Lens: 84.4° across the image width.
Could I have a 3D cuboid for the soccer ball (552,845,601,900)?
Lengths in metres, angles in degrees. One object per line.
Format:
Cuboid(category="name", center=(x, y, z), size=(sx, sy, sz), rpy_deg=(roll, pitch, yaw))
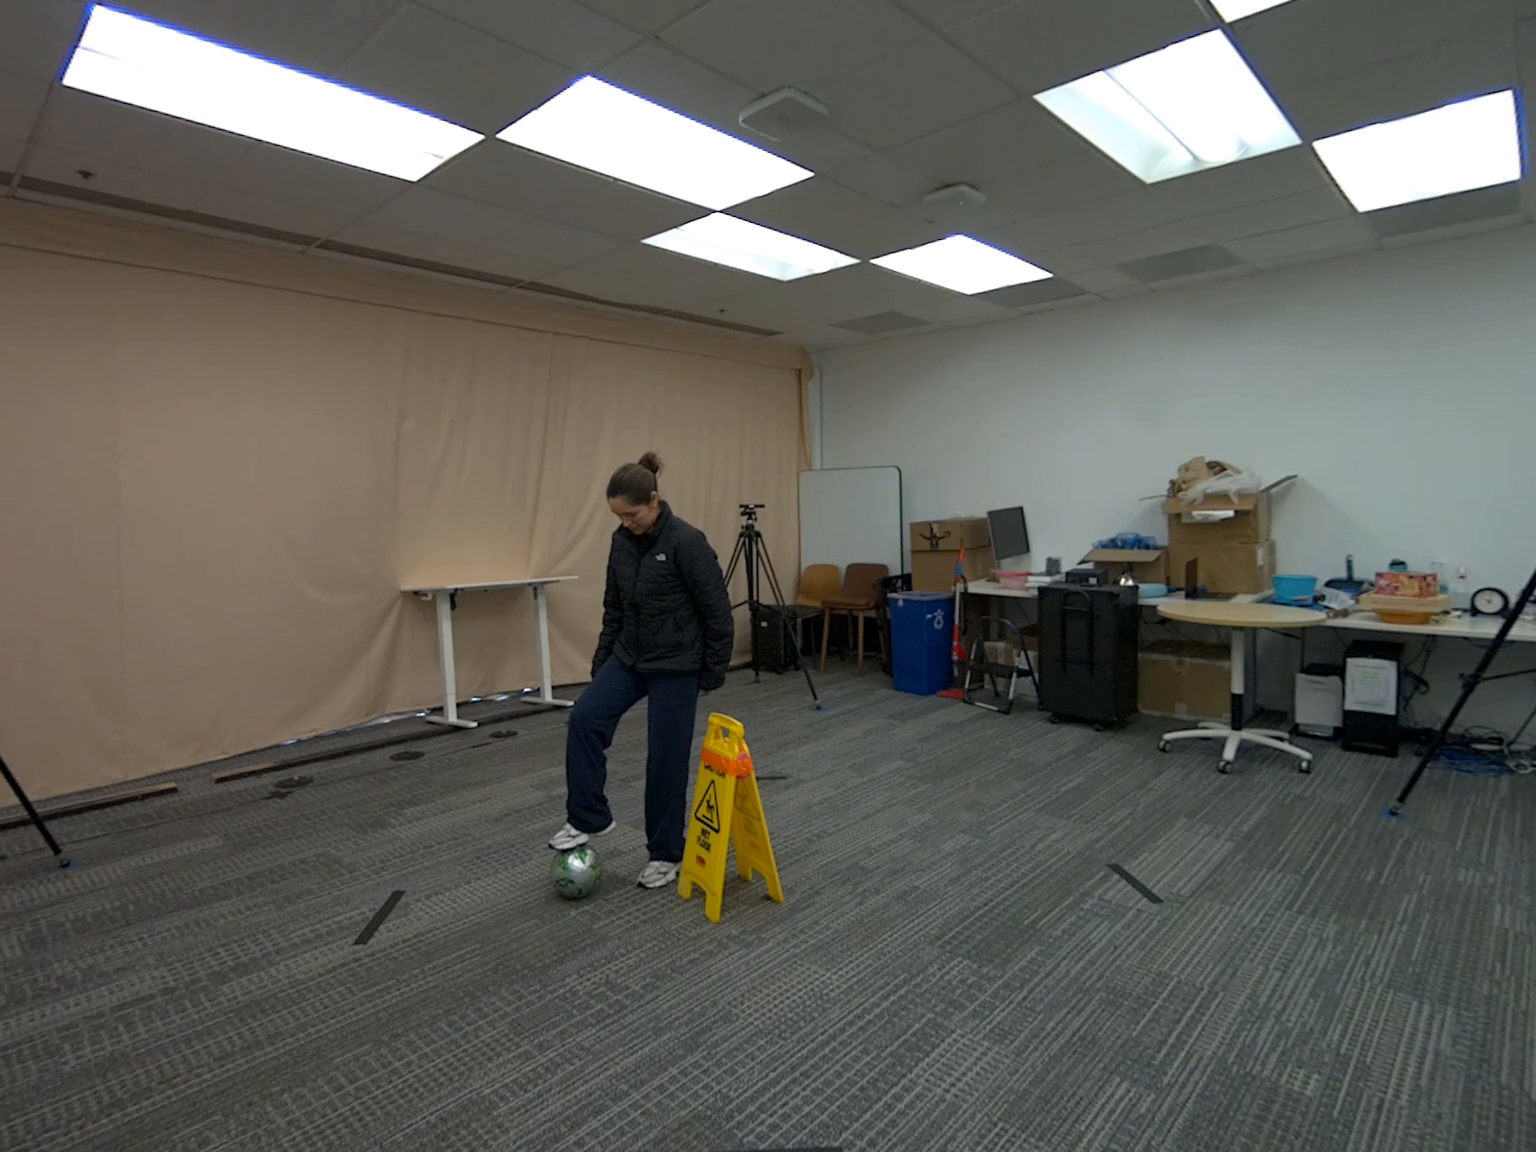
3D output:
Cuboid(category="soccer ball", center=(-0.689, 1.063, 3.038), size=(0.187, 0.187, 0.188), rpy_deg=(-1, 4, -2))
